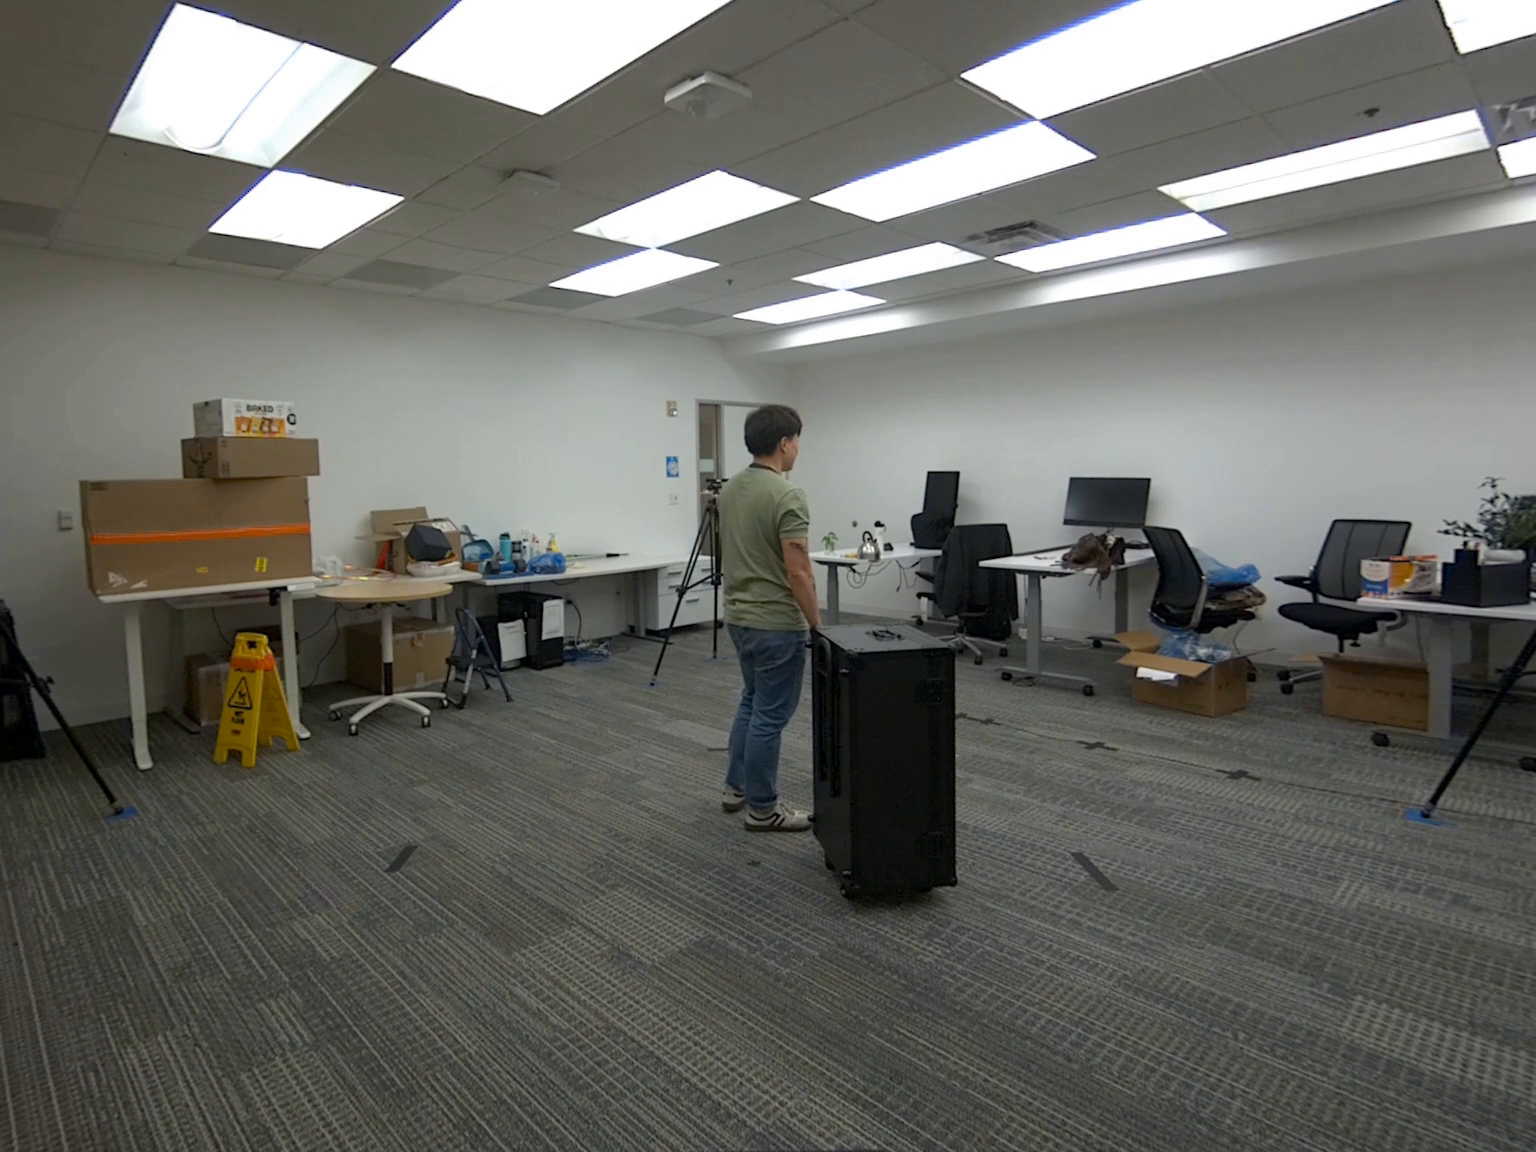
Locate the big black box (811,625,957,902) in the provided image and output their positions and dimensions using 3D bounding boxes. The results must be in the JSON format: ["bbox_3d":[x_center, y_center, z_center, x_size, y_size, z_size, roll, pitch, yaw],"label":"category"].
[{"bbox_3d":[0.377,0.569,2.948,0.393,0.858,0.528,-2,4,-11],"label":"big black box"}]
